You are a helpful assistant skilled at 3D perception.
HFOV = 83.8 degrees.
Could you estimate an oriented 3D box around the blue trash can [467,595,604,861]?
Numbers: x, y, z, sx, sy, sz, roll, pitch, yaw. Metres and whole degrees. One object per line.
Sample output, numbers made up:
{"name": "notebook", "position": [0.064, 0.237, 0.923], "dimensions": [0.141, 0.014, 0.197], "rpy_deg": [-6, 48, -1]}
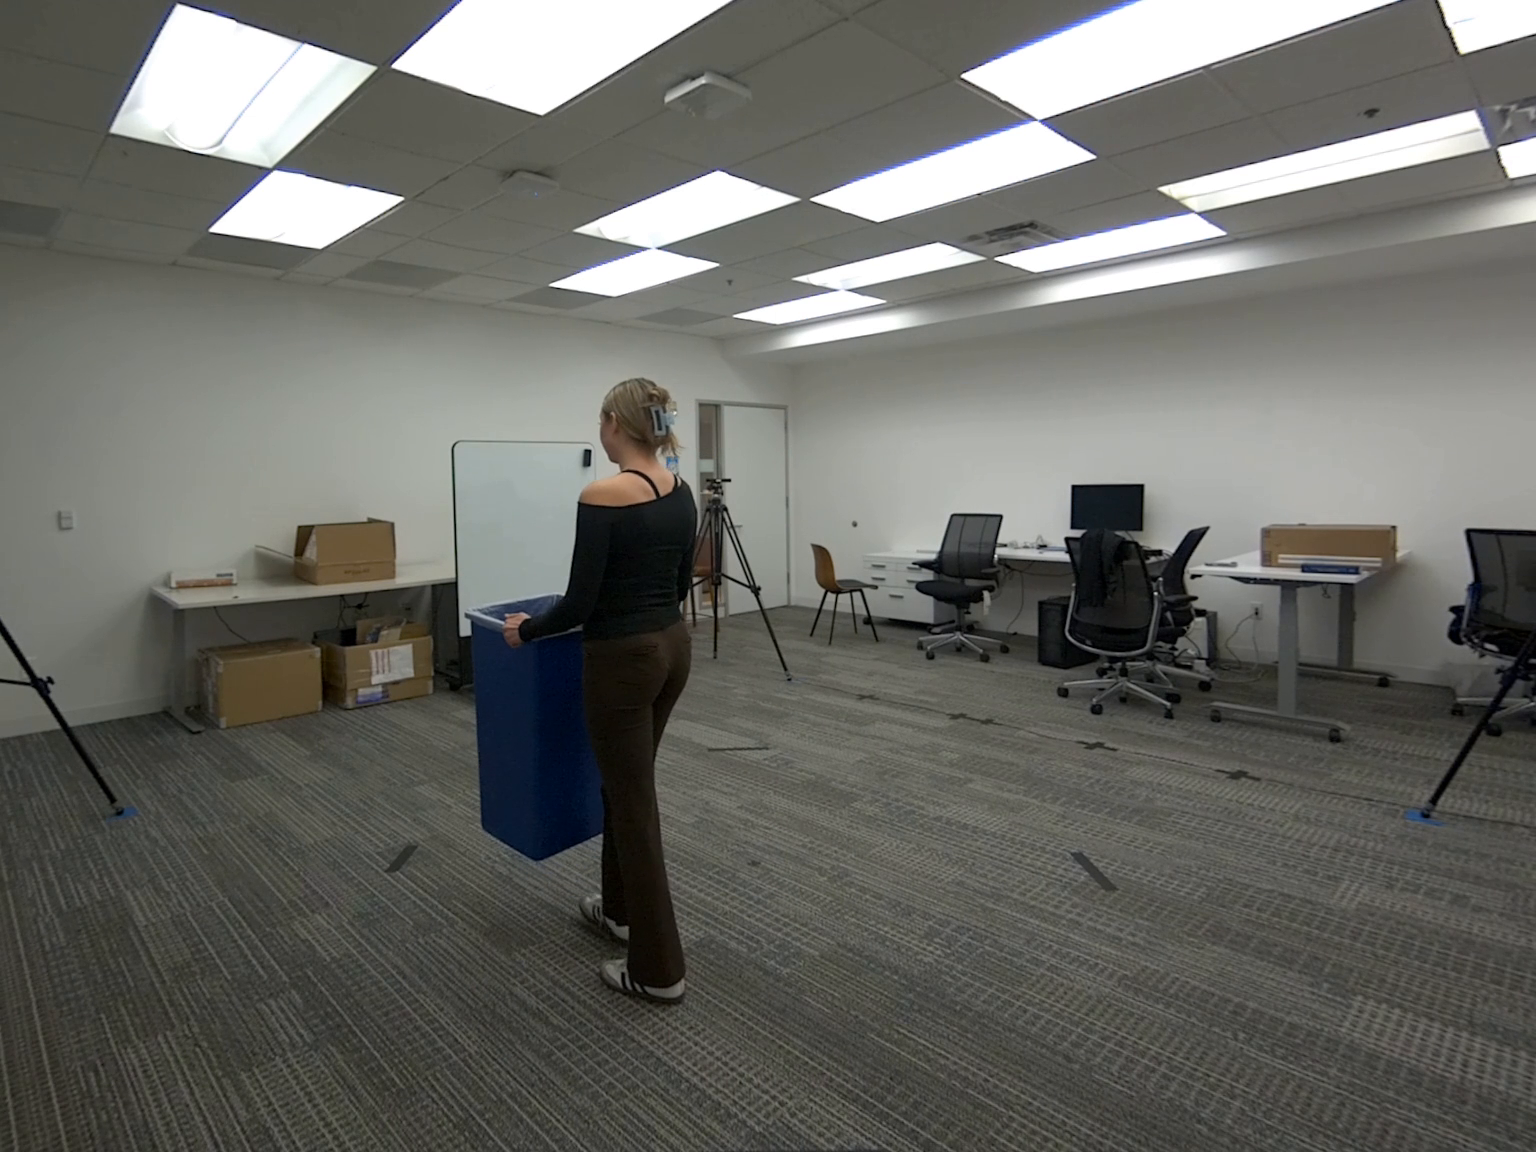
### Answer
{"name": "blue trash can", "position": [-0.692, 0.457, 2.659], "dimensions": [0.390, 0.708, 0.365], "rpy_deg": [9, 11, 40]}
